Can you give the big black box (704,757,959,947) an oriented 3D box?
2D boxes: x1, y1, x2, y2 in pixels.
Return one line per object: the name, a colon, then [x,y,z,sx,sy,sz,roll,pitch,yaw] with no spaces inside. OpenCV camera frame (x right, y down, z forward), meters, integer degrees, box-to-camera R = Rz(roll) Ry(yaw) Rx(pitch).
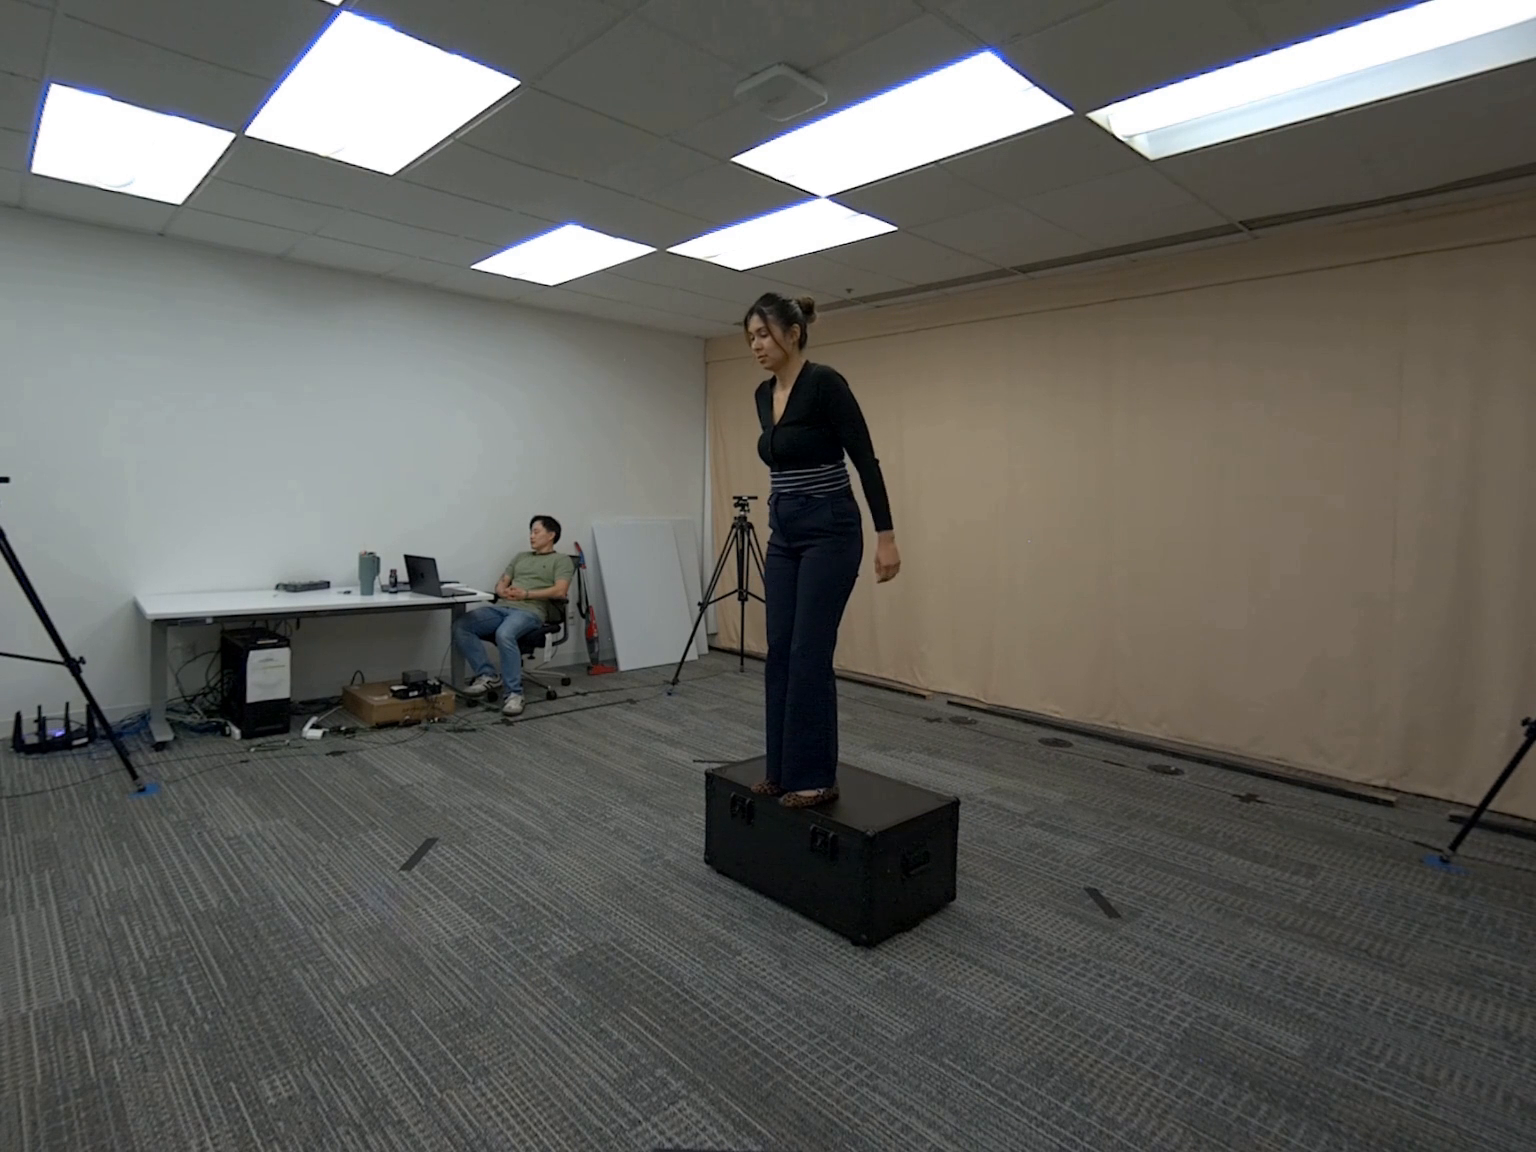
big black box: [0.217,0.931,2.990,0.509,0.395,0.883,-4,6,-43]
